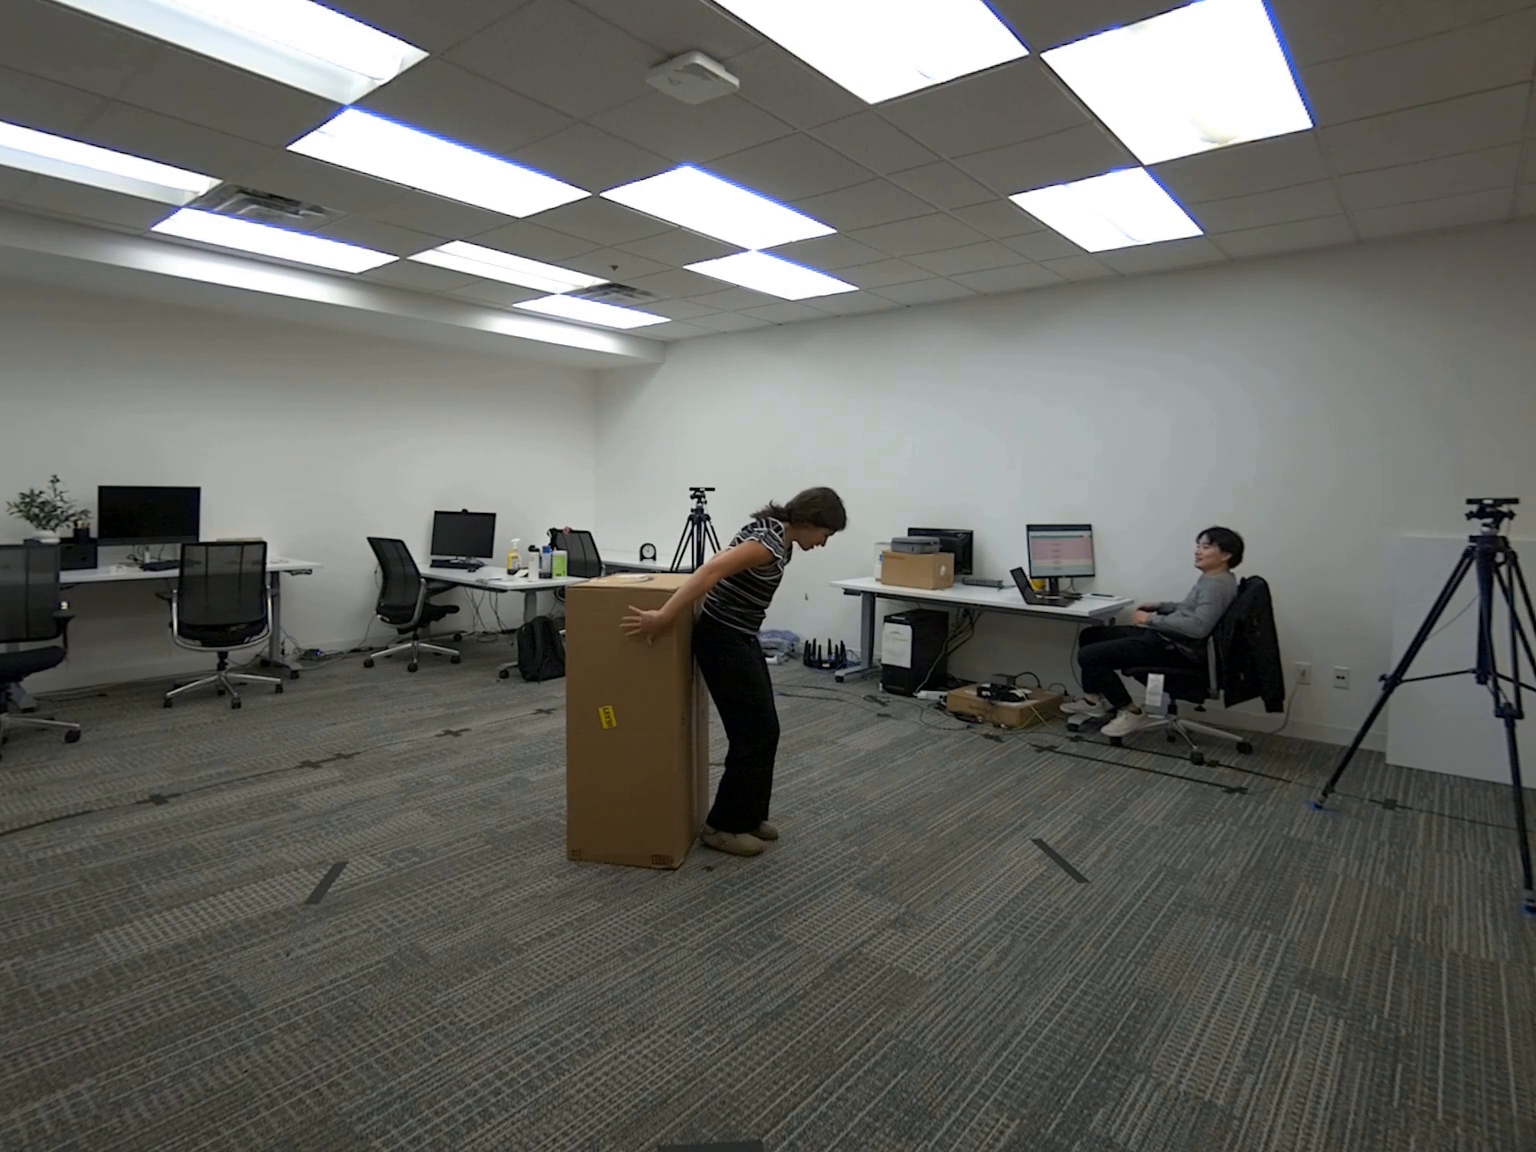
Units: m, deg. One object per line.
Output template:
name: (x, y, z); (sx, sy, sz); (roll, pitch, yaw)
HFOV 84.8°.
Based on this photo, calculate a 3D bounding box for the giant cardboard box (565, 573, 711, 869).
giant cardboard box: (-0.509, 0.524, 3.375); (0.431, 1.023, 0.573); (1, 3, 9)
